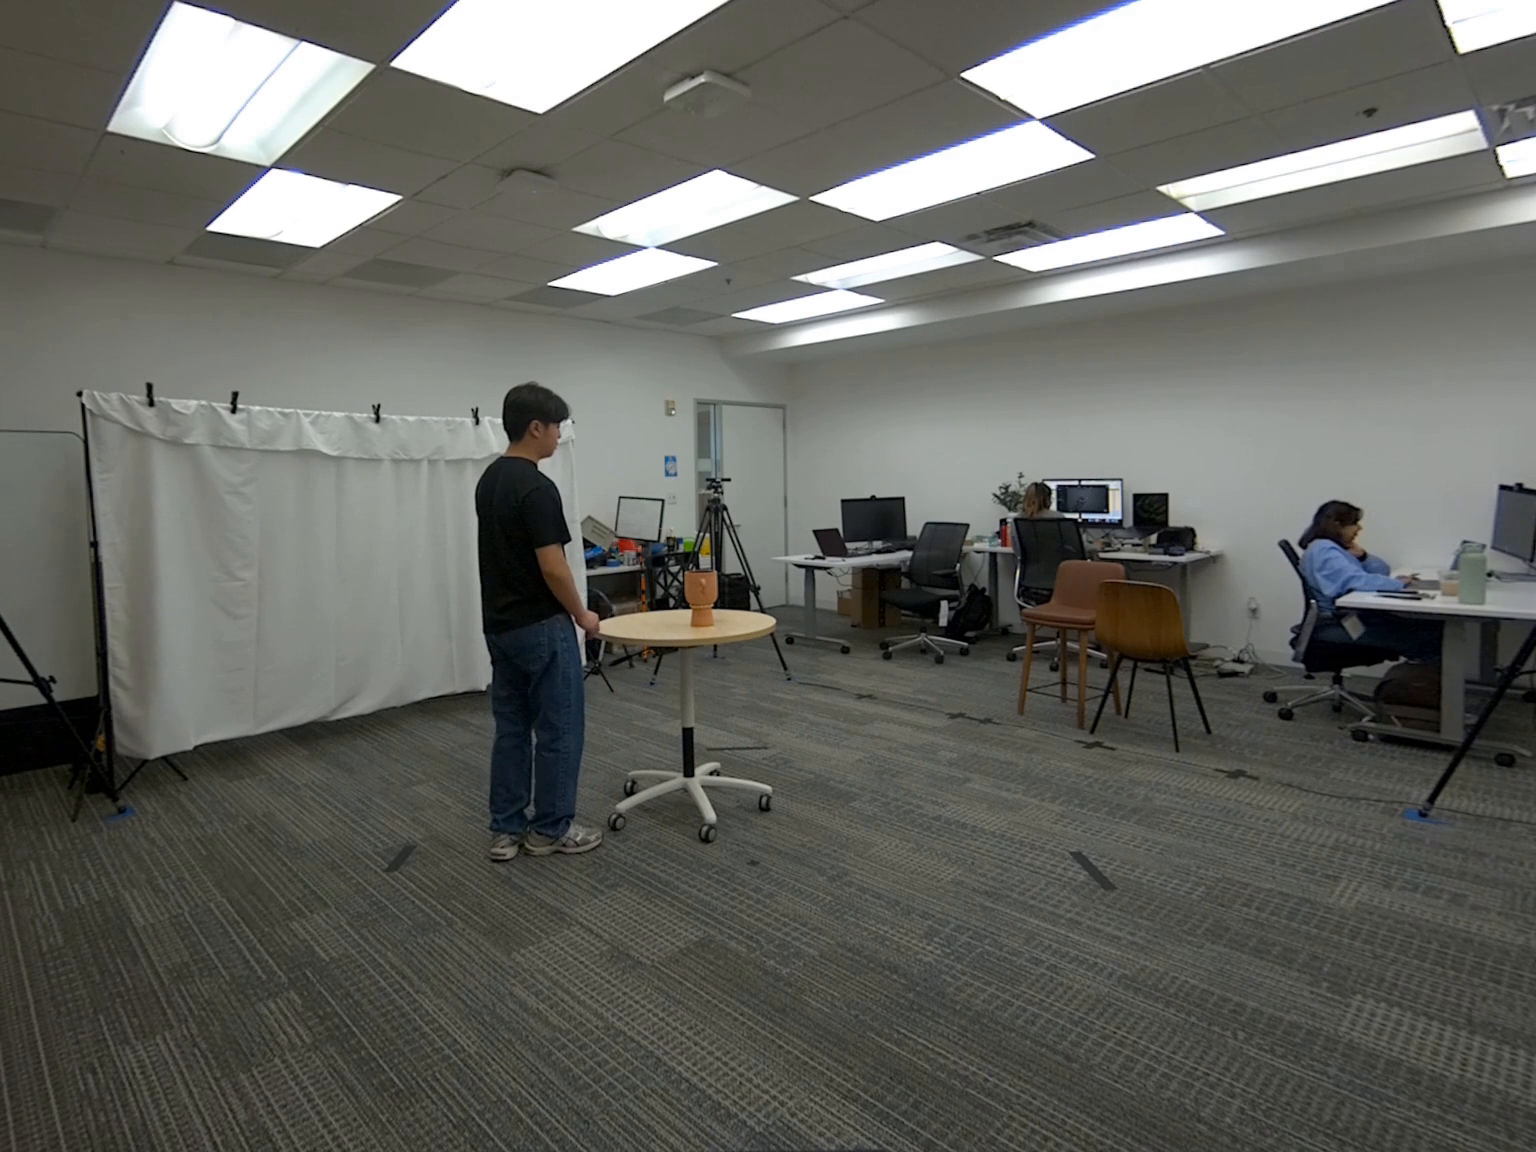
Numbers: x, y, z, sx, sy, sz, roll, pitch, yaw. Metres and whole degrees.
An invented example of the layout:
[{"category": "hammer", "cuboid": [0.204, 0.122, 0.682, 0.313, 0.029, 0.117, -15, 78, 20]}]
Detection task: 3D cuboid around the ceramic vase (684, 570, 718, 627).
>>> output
[{"category": "ceramic vase", "cuboid": [-0.277, 0.091, 3.514, 0.138, 0.219, 0.155, 0, 5, 29]}]
